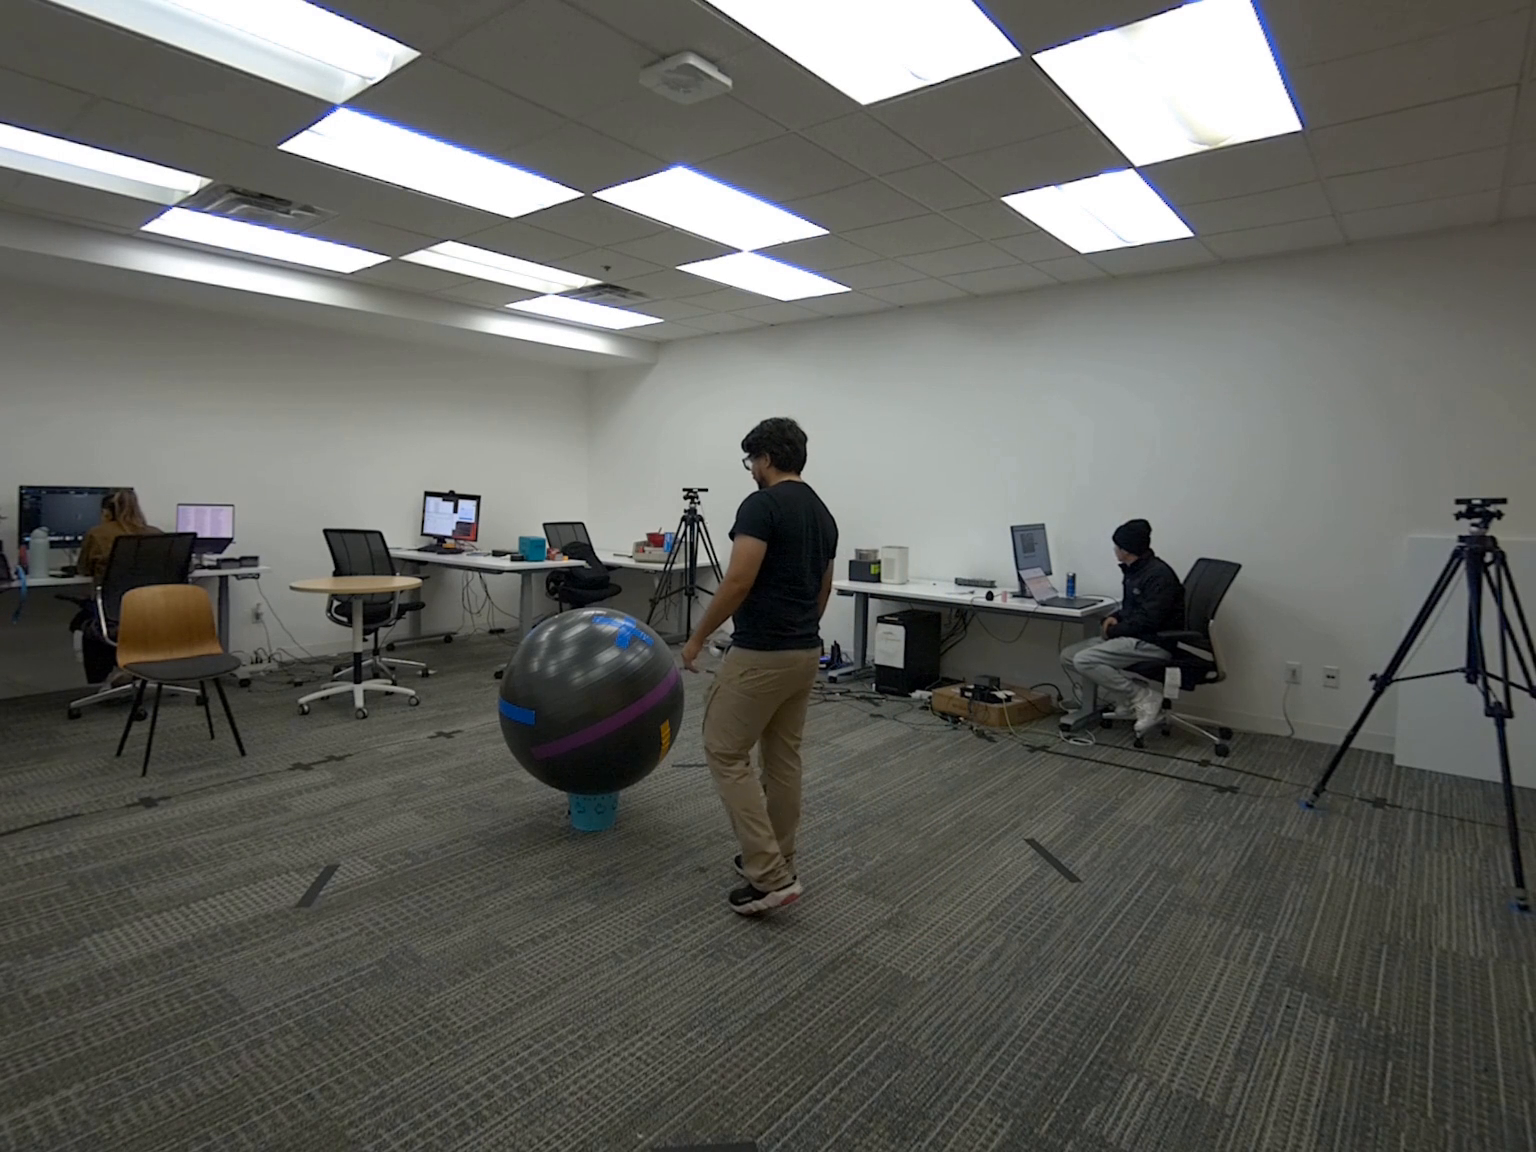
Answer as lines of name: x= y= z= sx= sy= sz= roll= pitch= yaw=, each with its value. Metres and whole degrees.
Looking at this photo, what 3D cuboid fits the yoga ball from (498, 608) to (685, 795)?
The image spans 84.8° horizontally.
yoga ball: x=-0.745 y=0.515 z=3.511 sx=0.757 sy=0.756 sz=0.761 roll=1 pitch=4 yaw=-2
